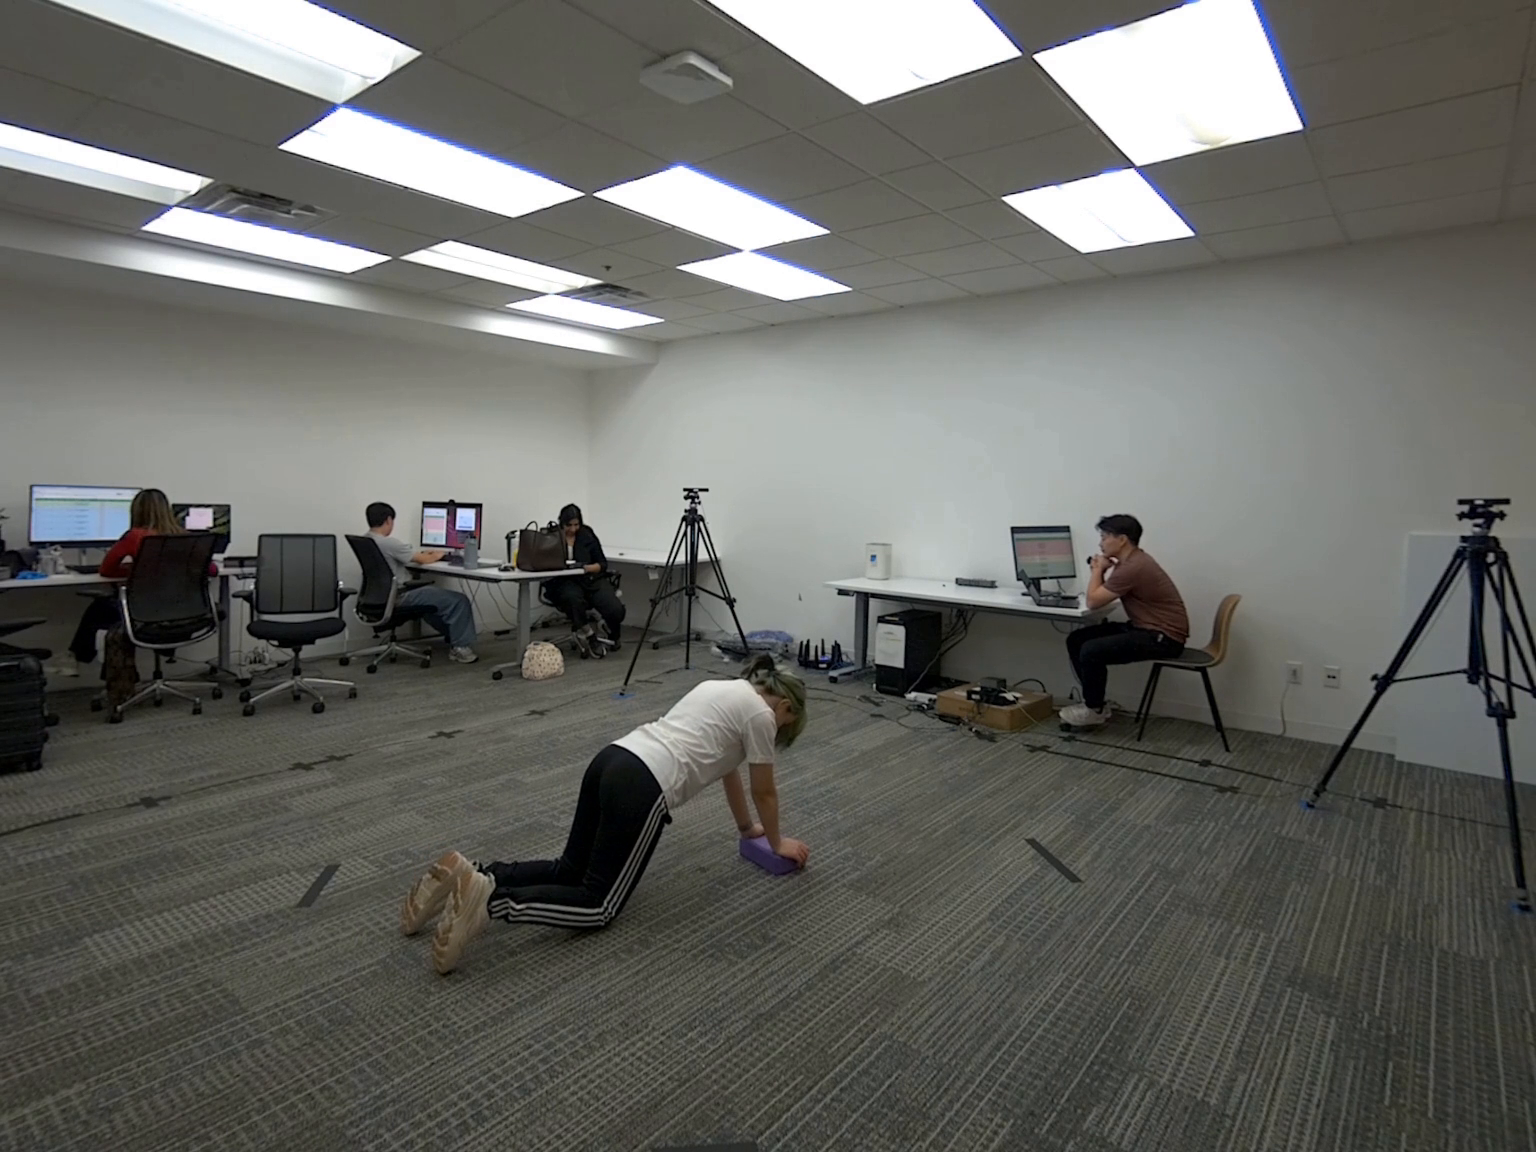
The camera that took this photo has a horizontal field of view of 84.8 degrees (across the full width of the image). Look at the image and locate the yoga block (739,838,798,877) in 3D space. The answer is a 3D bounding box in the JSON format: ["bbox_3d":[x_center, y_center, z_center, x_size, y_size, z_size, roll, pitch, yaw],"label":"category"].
[{"bbox_3d":[0.006,1.027,3.197,0.144,0.076,0.237,-1,5,-39],"label":"yoga block"}]
